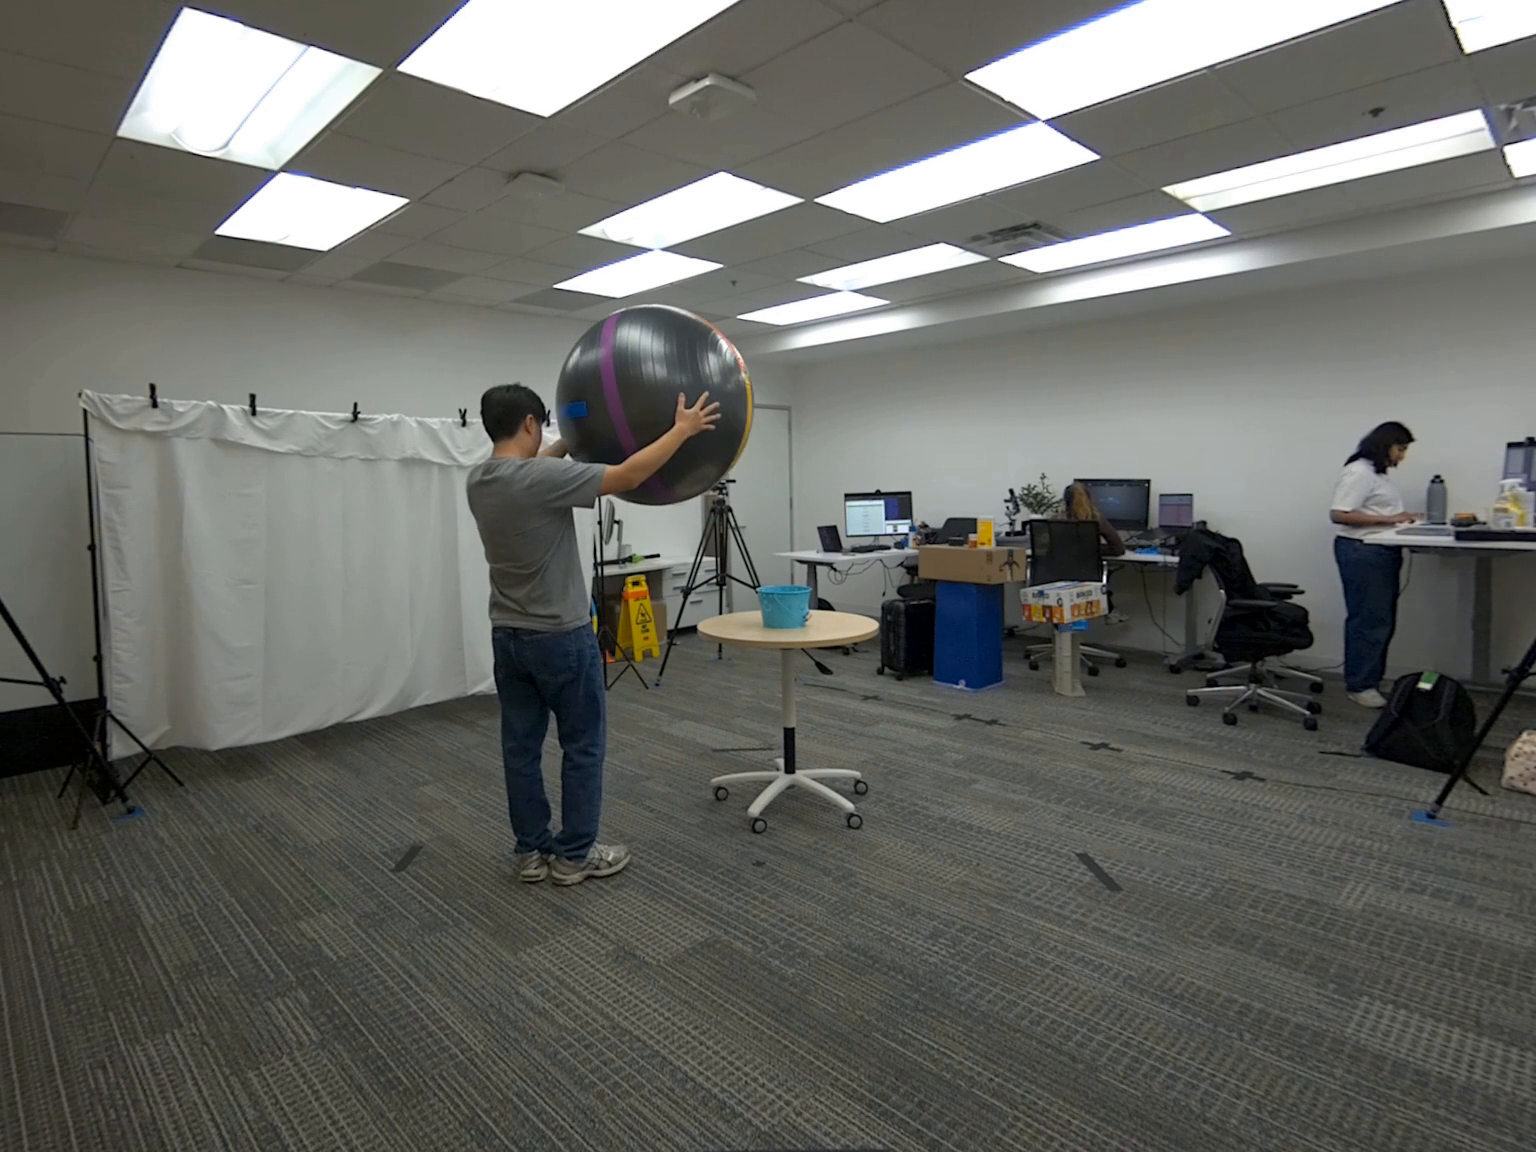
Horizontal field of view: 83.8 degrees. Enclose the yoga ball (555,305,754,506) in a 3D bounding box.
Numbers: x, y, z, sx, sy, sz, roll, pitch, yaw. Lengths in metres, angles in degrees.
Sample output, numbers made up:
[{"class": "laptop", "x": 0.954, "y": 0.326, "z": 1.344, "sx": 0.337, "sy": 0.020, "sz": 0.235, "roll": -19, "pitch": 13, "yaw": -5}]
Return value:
[{"class": "yoga ball", "x": -0.430, "y": -0.648, "z": 3.288, "sx": 0.757, "sy": 0.755, "sz": 0.762, "roll": -1, "pitch": 5, "yaw": -2}]
